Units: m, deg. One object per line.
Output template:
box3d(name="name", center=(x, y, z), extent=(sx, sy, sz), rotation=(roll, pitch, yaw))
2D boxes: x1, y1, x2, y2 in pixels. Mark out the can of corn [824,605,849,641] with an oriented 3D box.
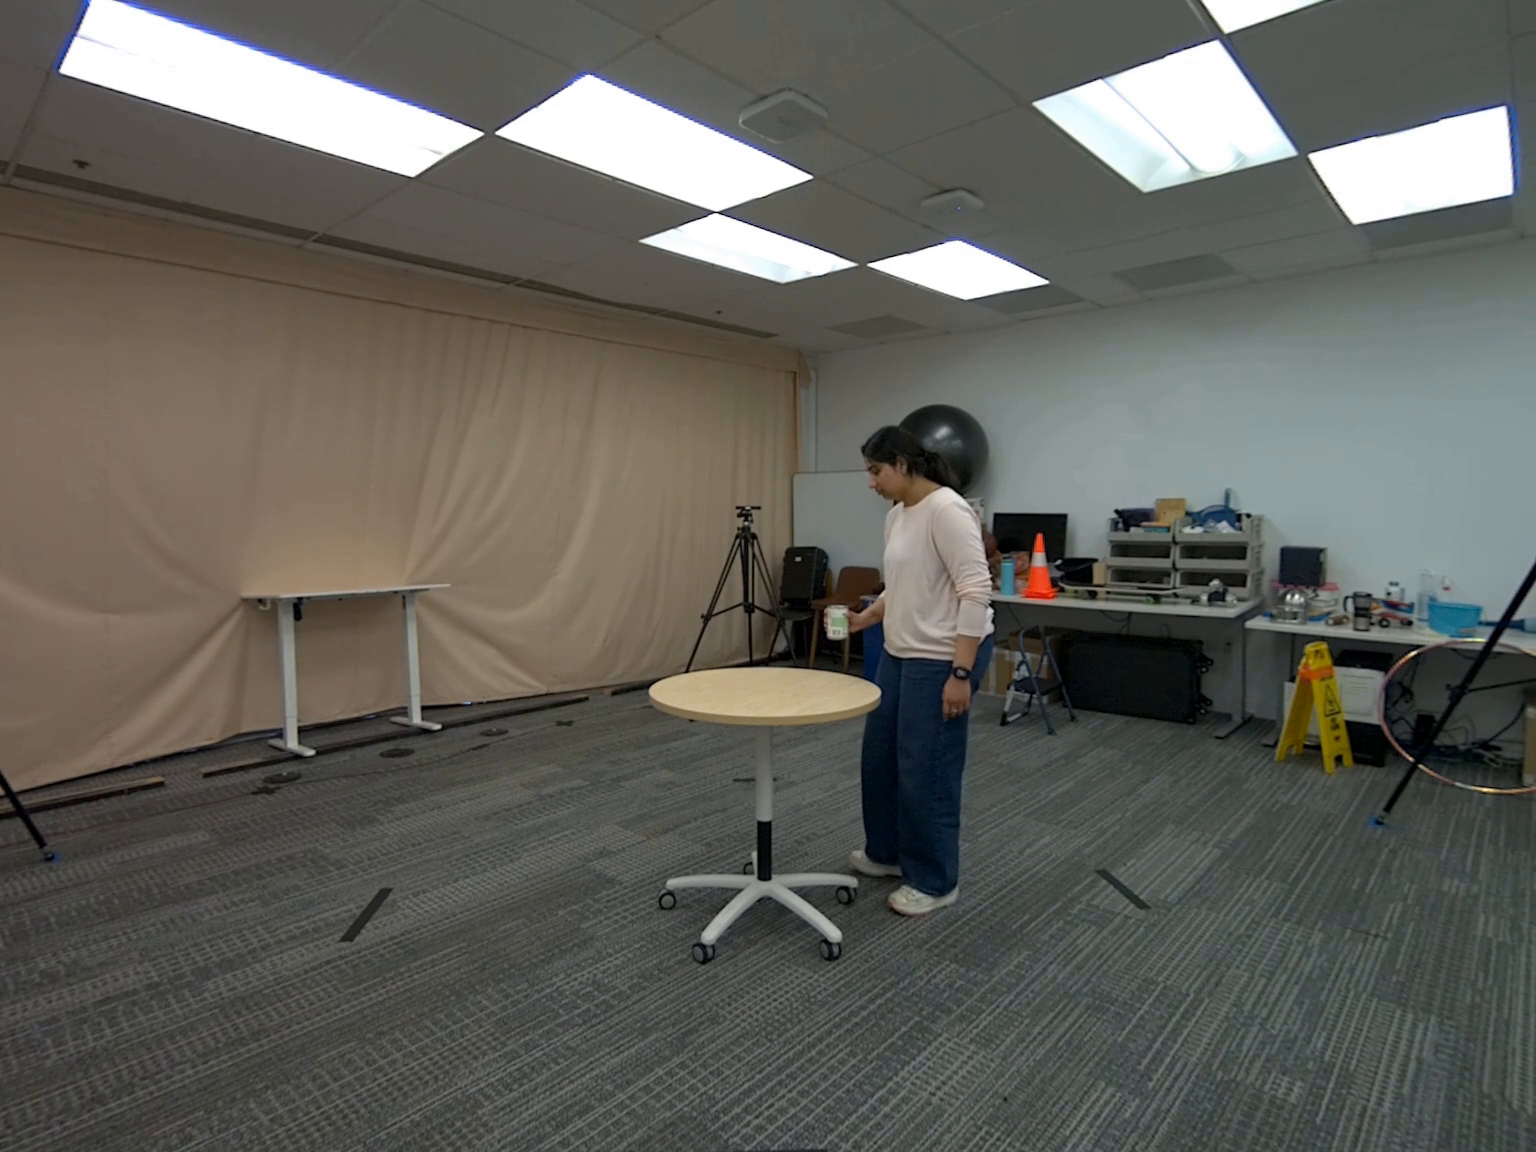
box3d(name="can of corn", center=(0.243, 0.165, 2.991), extent=(0.074, 0.111, 0.074), rotation=(1, 5, -2))
